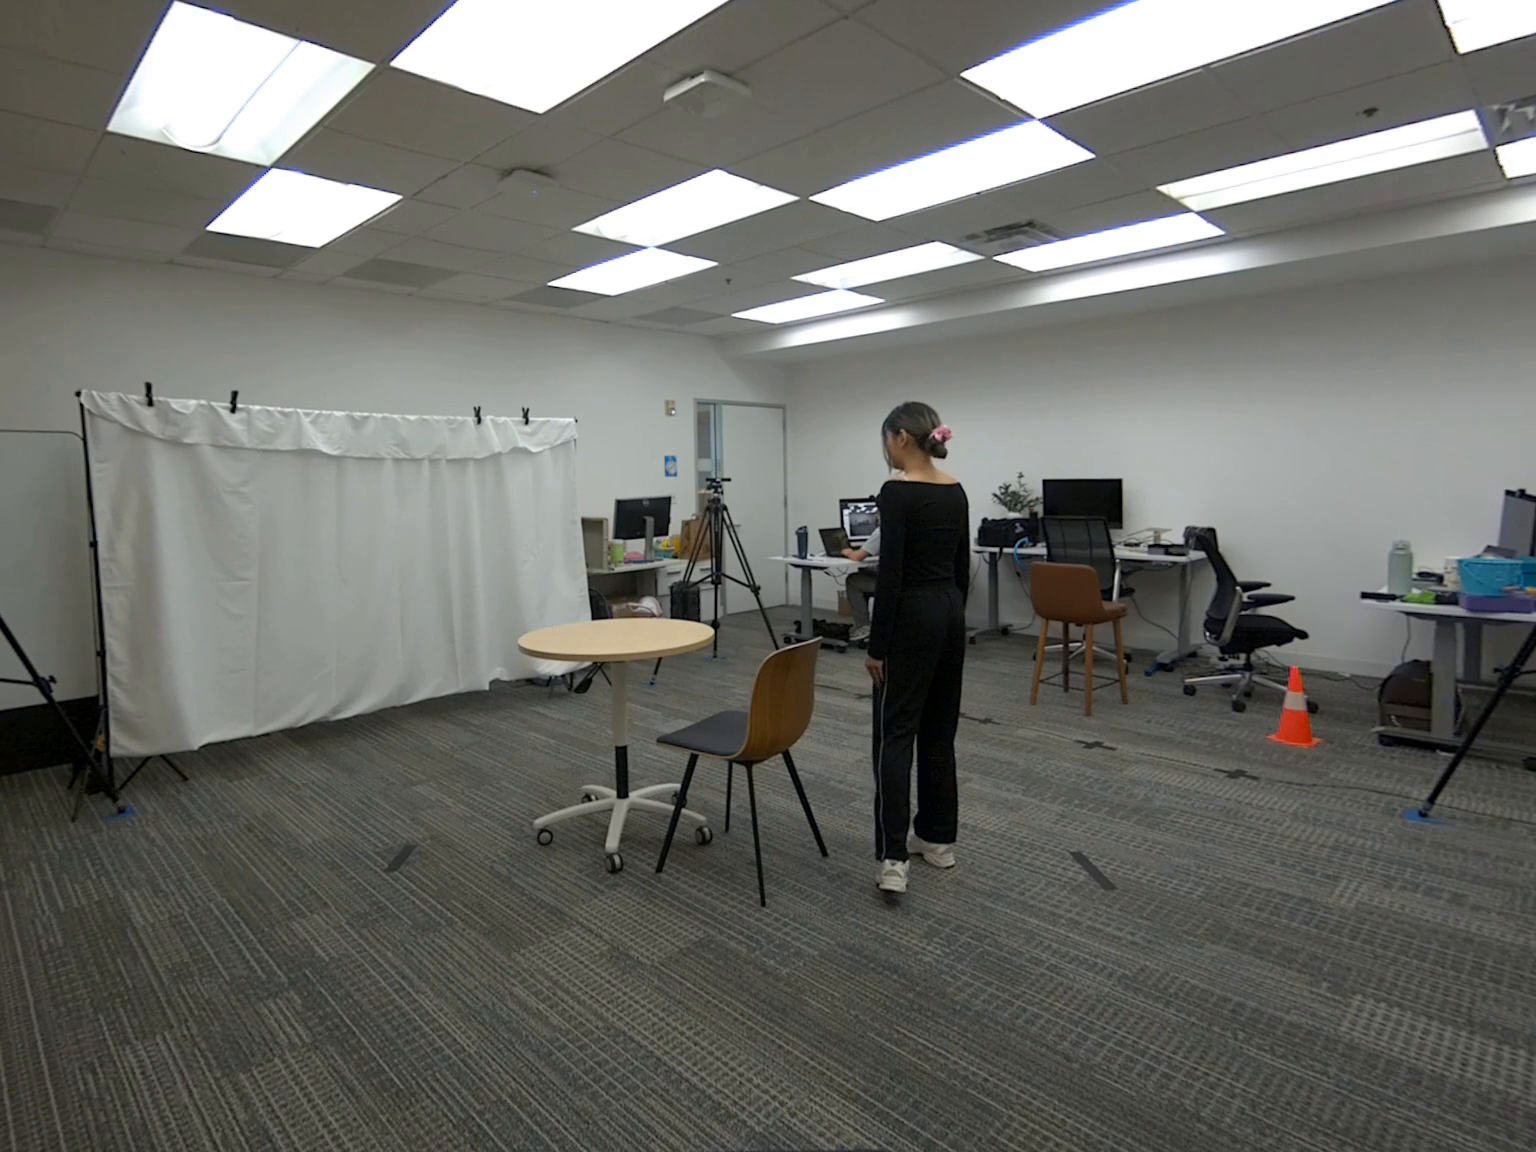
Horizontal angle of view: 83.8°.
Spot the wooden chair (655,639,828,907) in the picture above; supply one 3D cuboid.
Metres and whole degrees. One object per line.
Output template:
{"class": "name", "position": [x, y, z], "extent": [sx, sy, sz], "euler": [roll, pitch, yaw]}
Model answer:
{"class": "wooden chair", "position": [-0.100, 0.618, 3.059], "extent": [0.539, 0.872, 0.467], "euler": [7, 8, 33]}
